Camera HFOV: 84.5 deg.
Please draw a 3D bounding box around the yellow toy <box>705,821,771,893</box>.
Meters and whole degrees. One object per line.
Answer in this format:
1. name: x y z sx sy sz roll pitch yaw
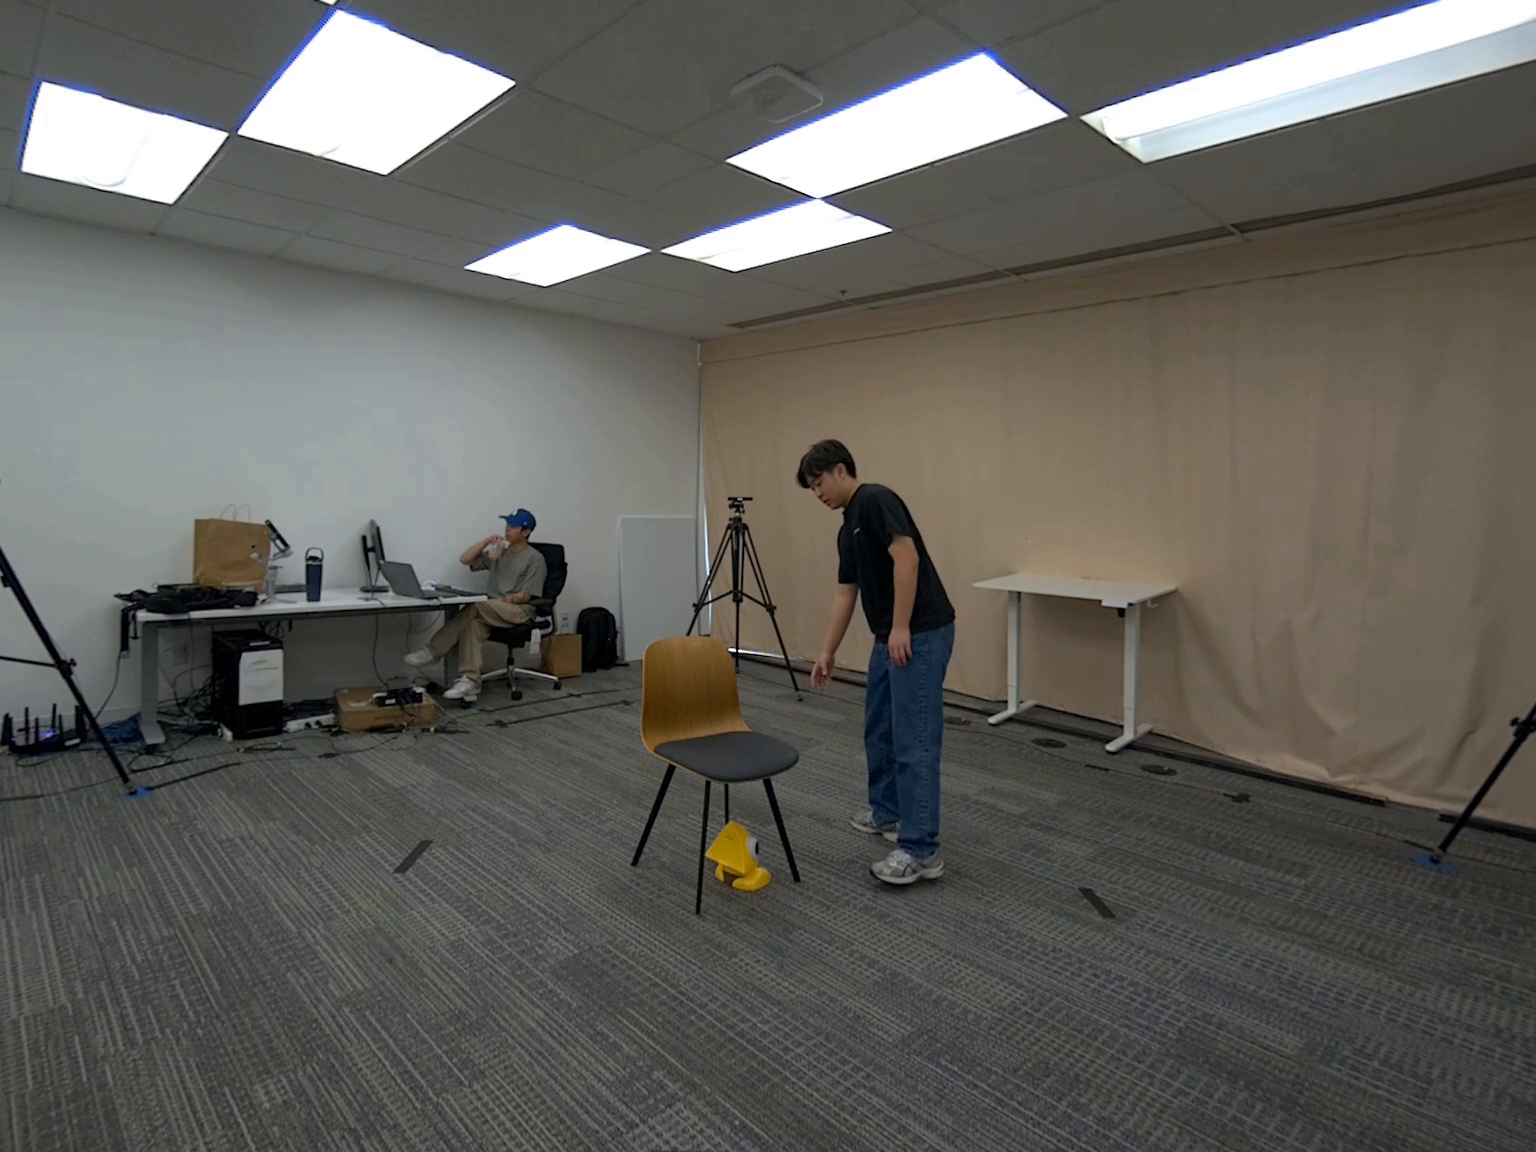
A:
1. yellow toy: -0.105 0.994 3.083 0.210 0.230 0.188 3 4 45
